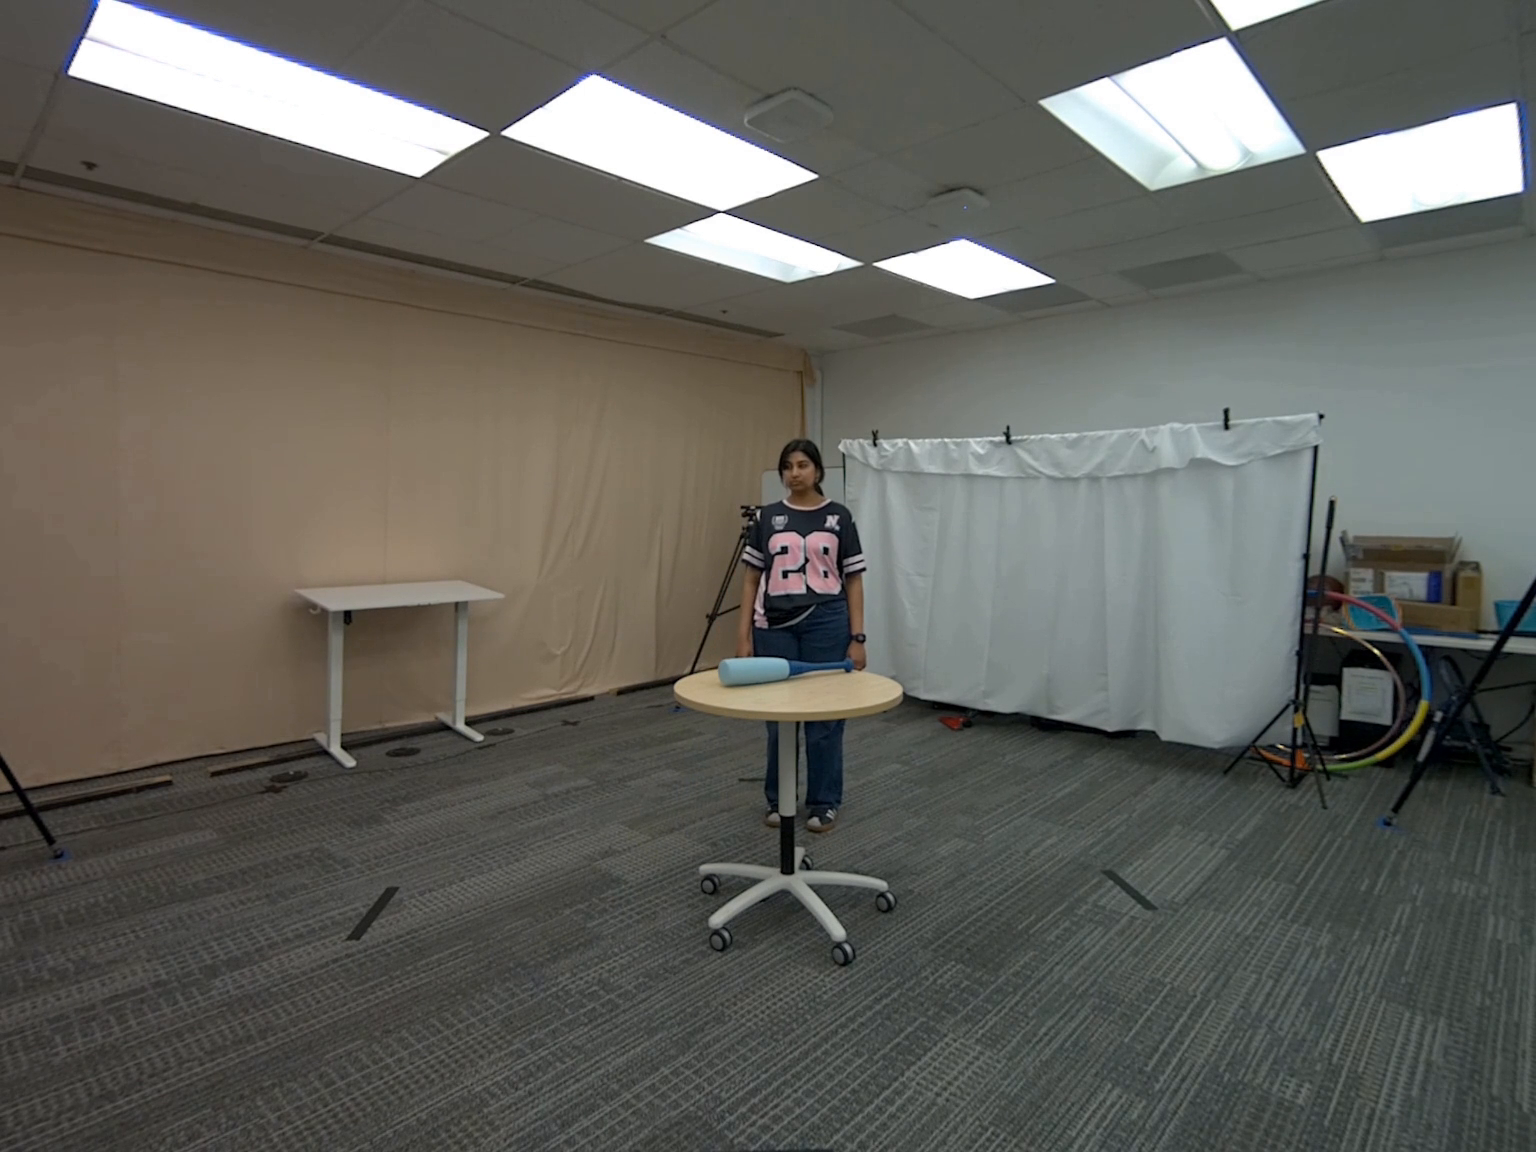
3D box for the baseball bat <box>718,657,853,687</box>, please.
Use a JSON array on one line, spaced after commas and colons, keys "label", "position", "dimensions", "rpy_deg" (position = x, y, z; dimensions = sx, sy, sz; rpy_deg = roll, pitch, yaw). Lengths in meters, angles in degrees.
[{"label": "baseball bat", "position": [0.079, 0.326, 2.956], "dimensions": [0.528, 0.089, 0.092], "rpy_deg": [0, 3, -31]}]
